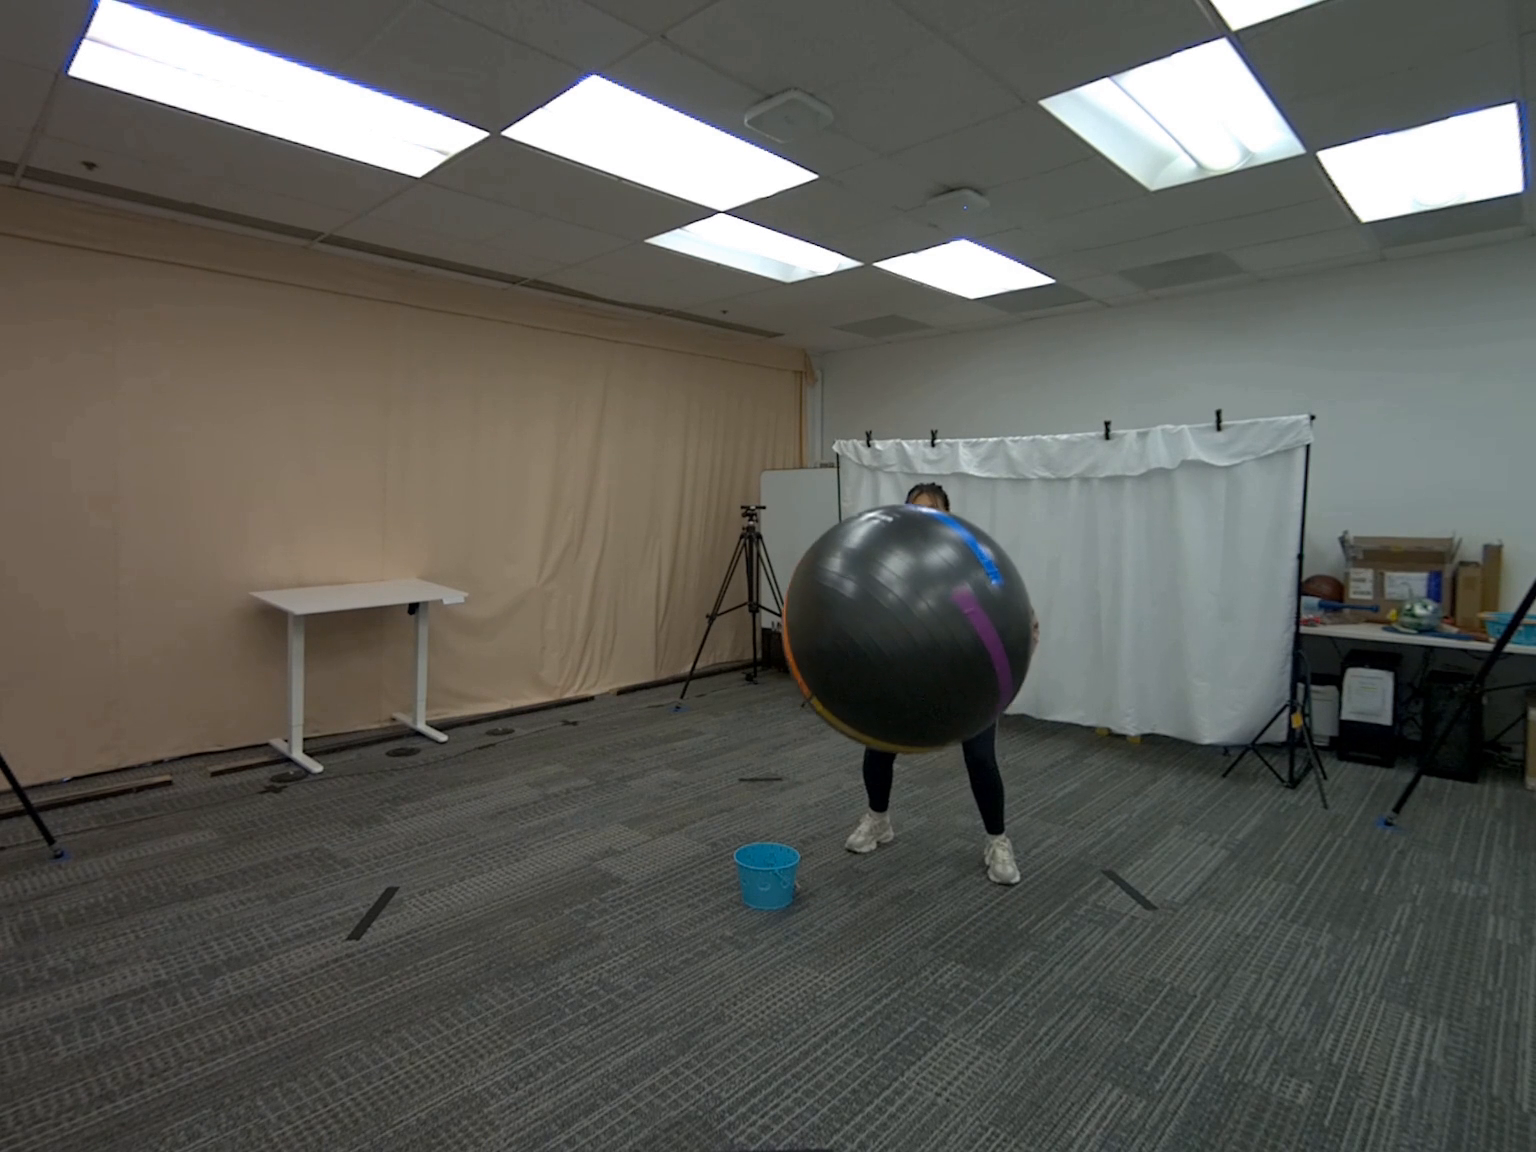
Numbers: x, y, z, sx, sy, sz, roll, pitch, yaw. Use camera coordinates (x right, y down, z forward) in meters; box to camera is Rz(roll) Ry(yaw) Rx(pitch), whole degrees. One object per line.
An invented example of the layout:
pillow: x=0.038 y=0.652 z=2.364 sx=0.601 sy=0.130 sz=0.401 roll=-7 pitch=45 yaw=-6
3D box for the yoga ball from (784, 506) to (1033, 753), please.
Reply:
yoga ball: x=0.433 y=0.165 z=2.600 sx=0.757 sy=0.756 sz=0.760 roll=0 pitch=4 yaw=-2
